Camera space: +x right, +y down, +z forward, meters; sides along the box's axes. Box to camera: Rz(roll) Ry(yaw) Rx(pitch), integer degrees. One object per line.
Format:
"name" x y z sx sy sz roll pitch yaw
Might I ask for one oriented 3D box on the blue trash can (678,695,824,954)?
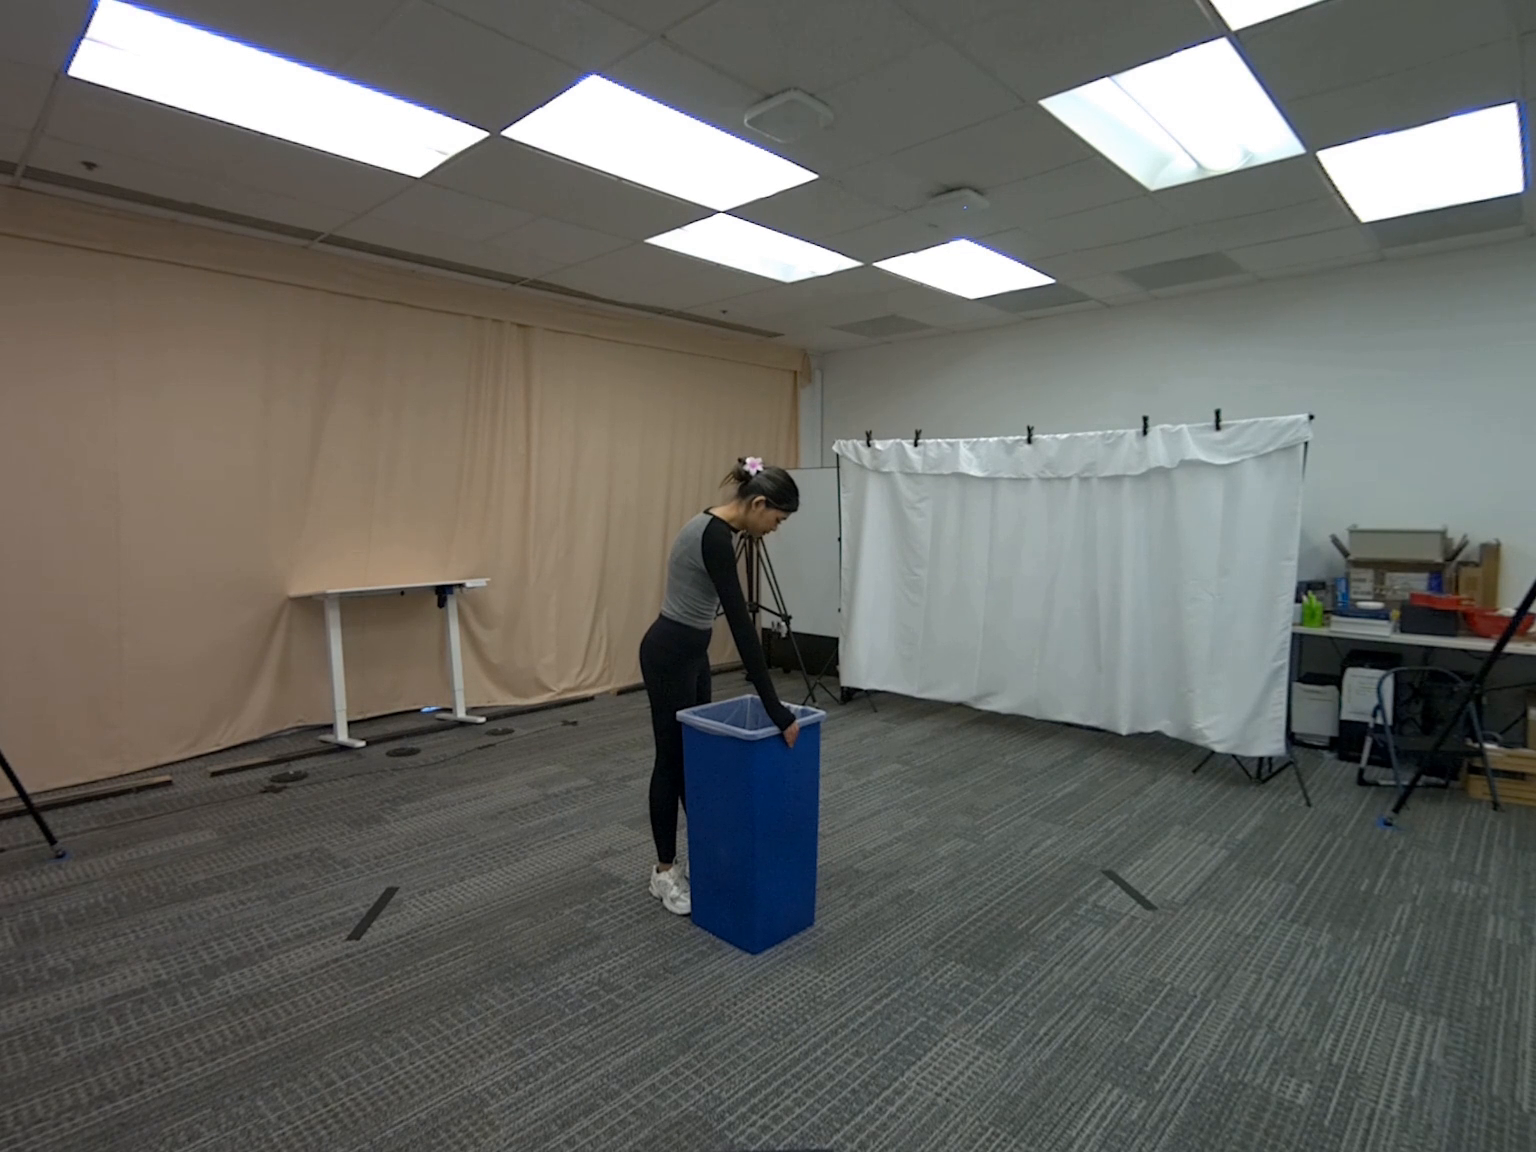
"blue trash can" -0.050 0.804 2.783 0.391 0.712 0.362 3 4 44
